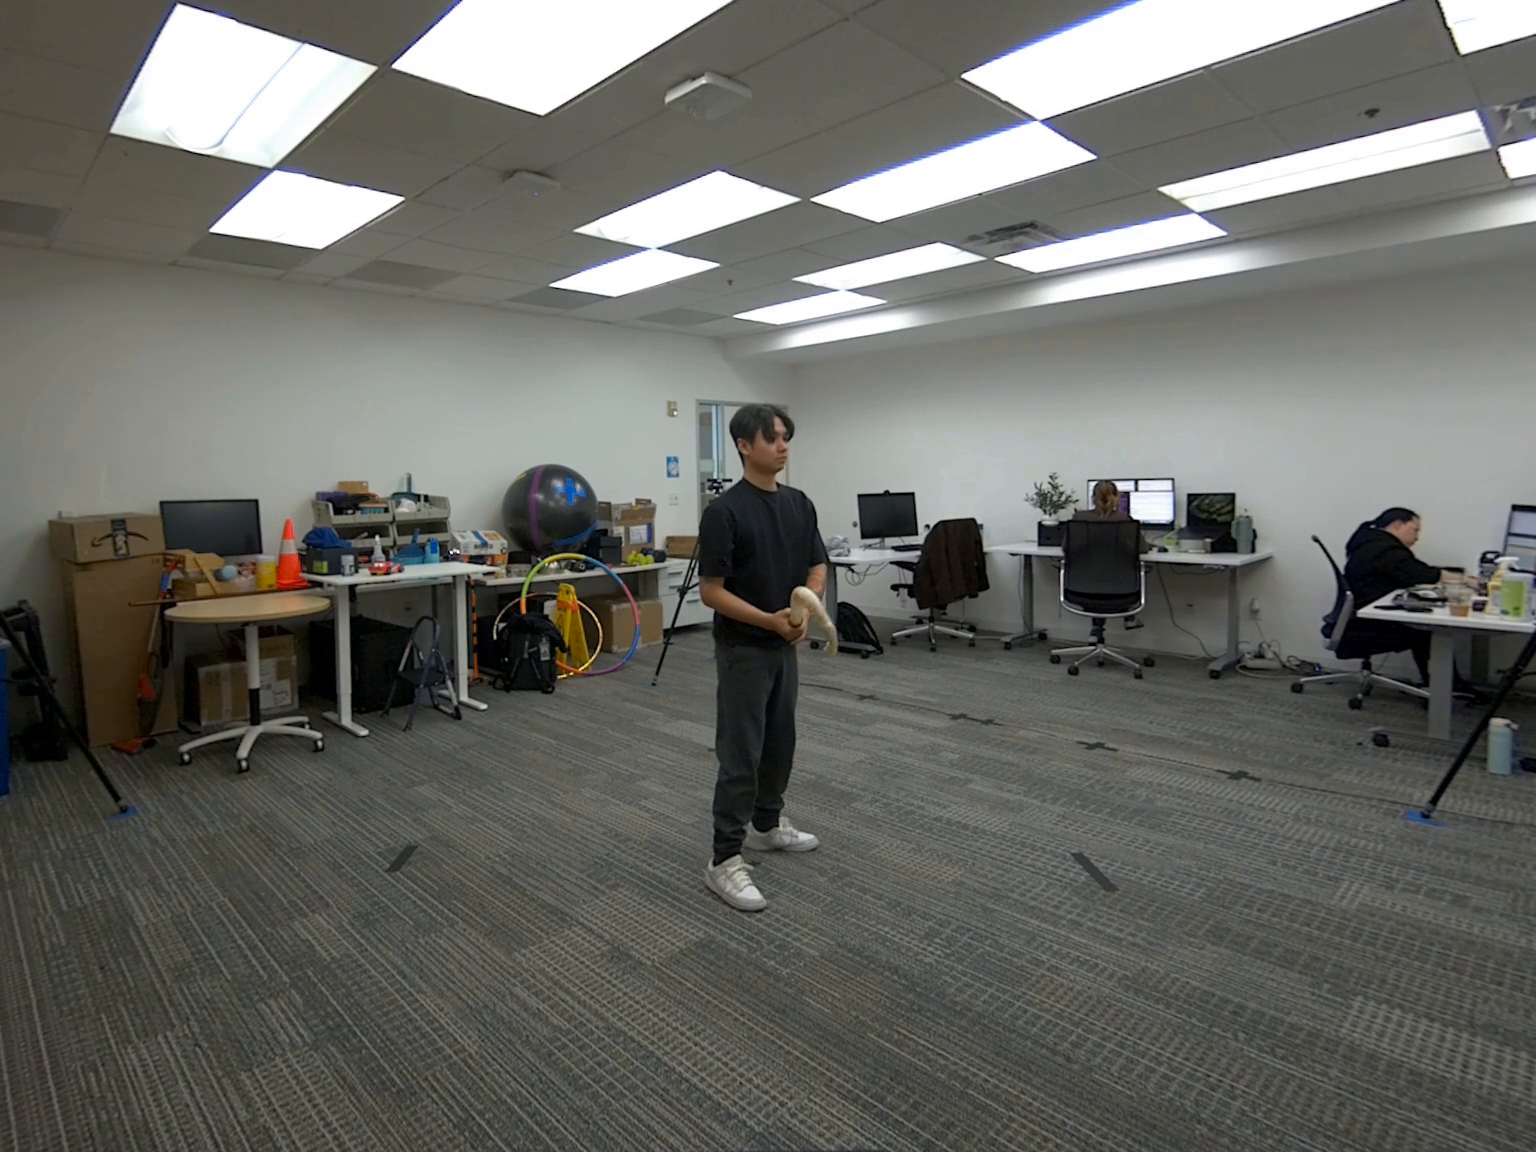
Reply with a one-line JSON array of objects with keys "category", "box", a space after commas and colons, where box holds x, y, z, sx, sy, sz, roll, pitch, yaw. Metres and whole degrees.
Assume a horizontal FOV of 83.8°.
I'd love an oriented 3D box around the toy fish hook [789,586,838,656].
[{"category": "toy fish hook", "box": [0.099, 0.179, 2.664, 0.048, 0.228, 0.503, -21, -11, -14]}]
